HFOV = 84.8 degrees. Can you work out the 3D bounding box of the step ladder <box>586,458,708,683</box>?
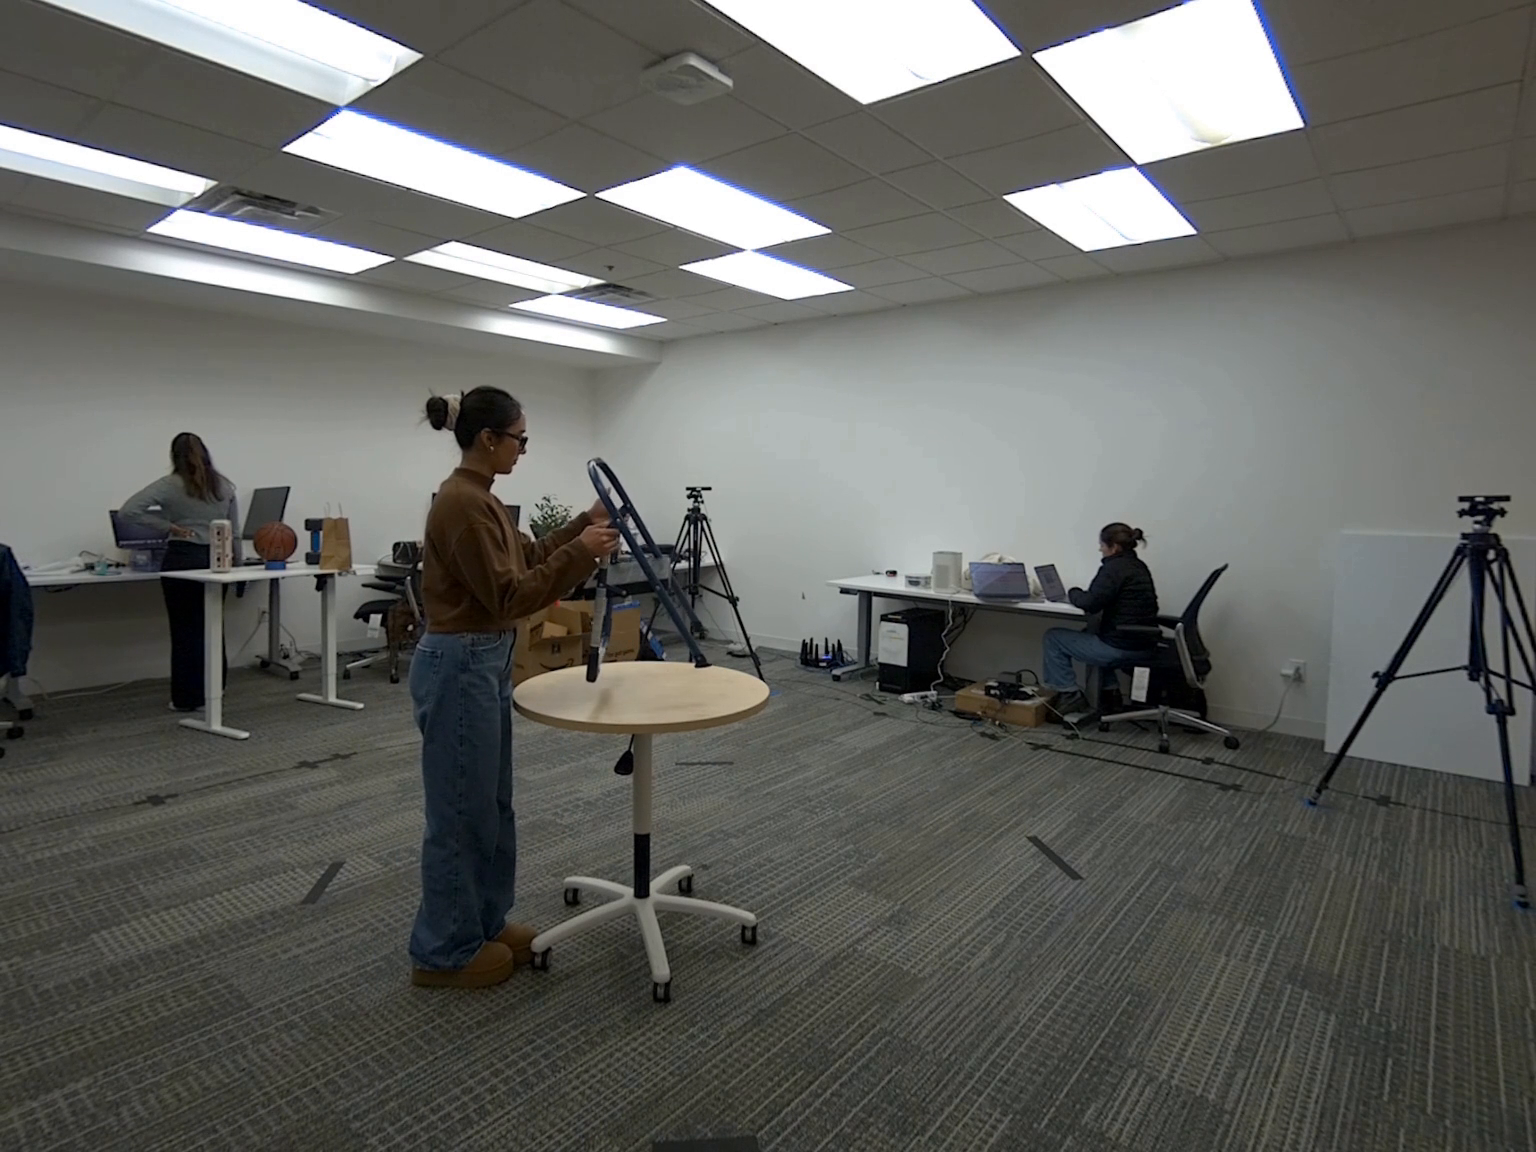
[{"bbox_3d":[-0.415,-0.041,2.503,0.348,0.600,0.436,-7,9,-3],"label":"step ladder"}]
